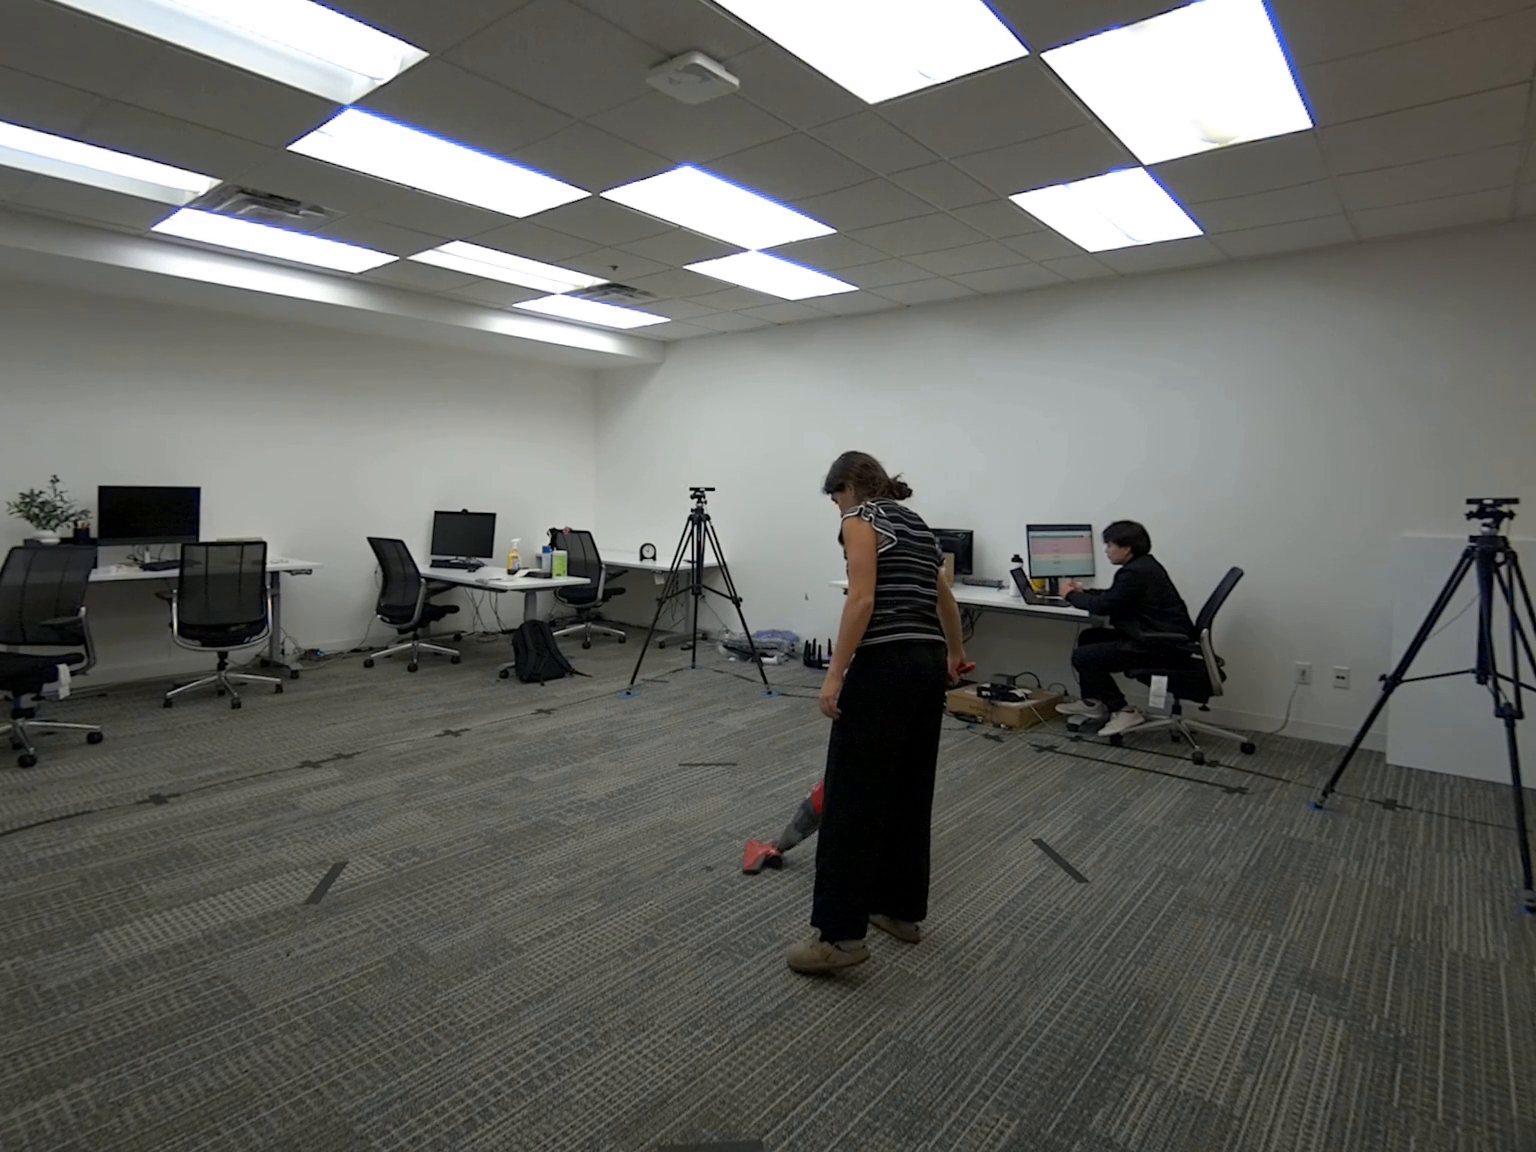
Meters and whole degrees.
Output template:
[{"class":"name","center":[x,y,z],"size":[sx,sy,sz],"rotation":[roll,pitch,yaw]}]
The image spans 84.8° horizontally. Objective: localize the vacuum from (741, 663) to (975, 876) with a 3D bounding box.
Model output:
[{"class":"vacuum","center":[0.332,0.690,3.126],"size":[0.144,1.050,0.251],"rotation":[46,5,1]}]
